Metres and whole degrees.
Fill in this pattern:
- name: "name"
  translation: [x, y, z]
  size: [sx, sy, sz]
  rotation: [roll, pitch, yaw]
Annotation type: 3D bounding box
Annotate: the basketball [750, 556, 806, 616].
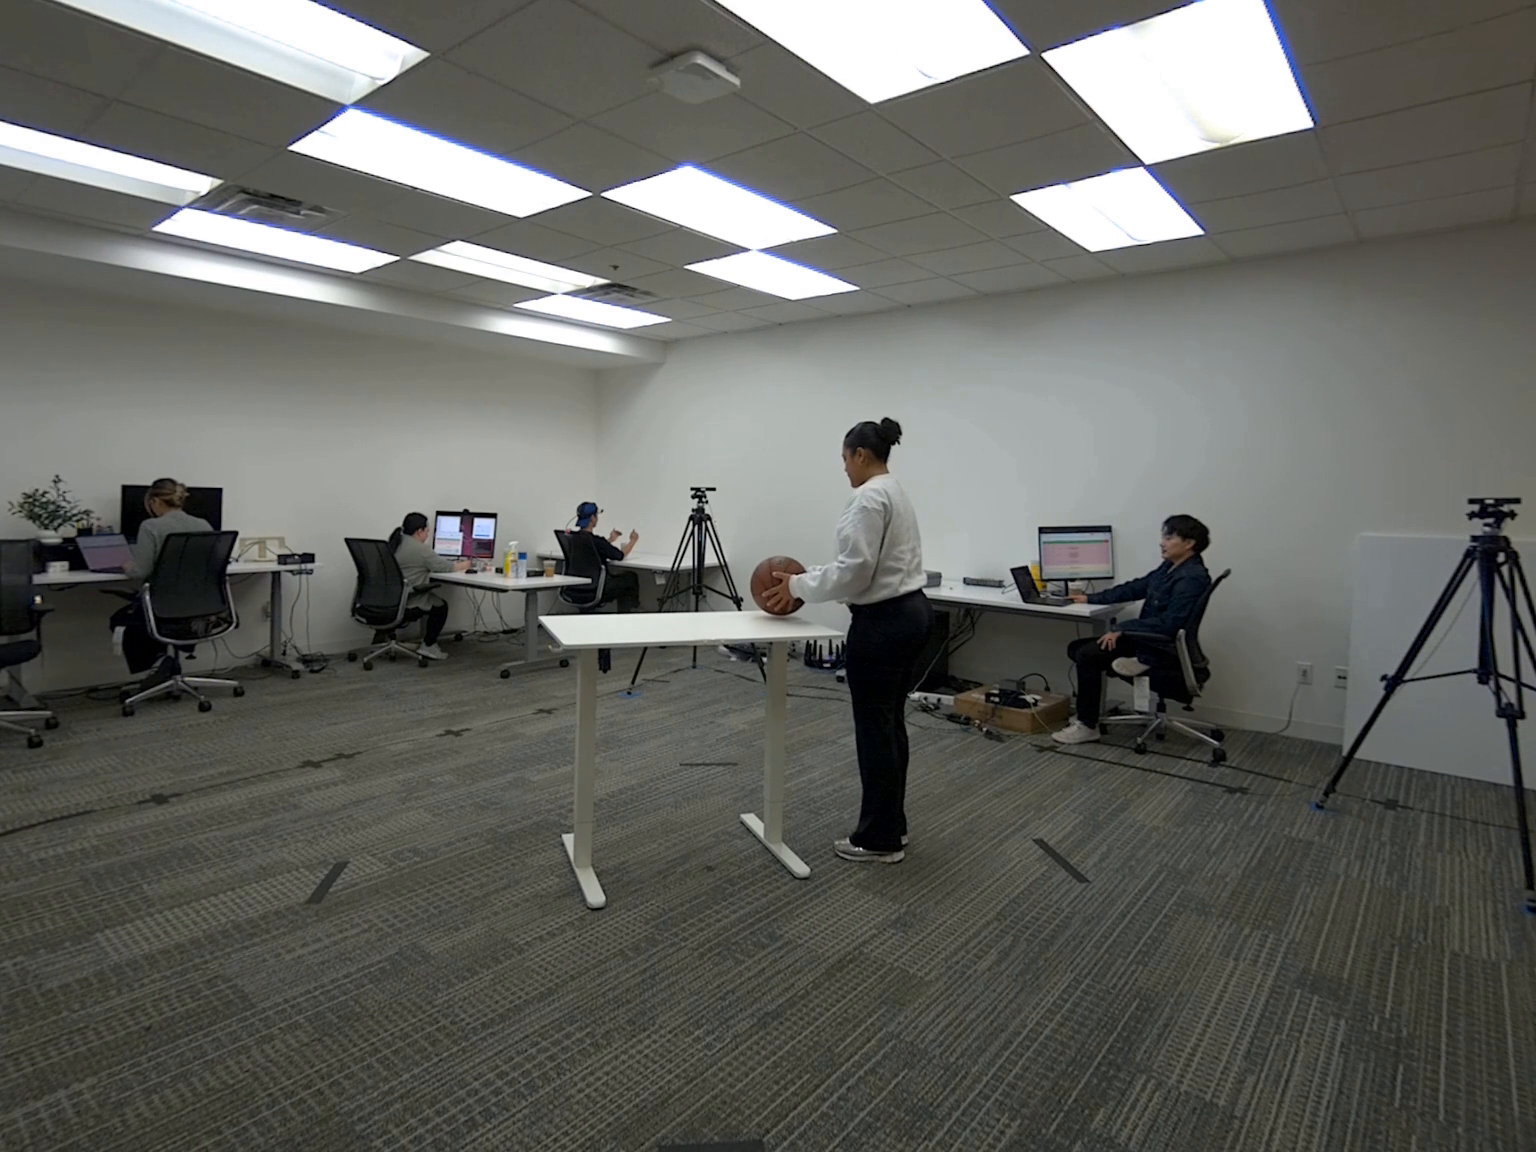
- name: "basketball"
  translation: [0.044, 0.029, 3.411]
  size: [0.235, 0.235, 0.237]
  rotation: [1, 4, -2]
